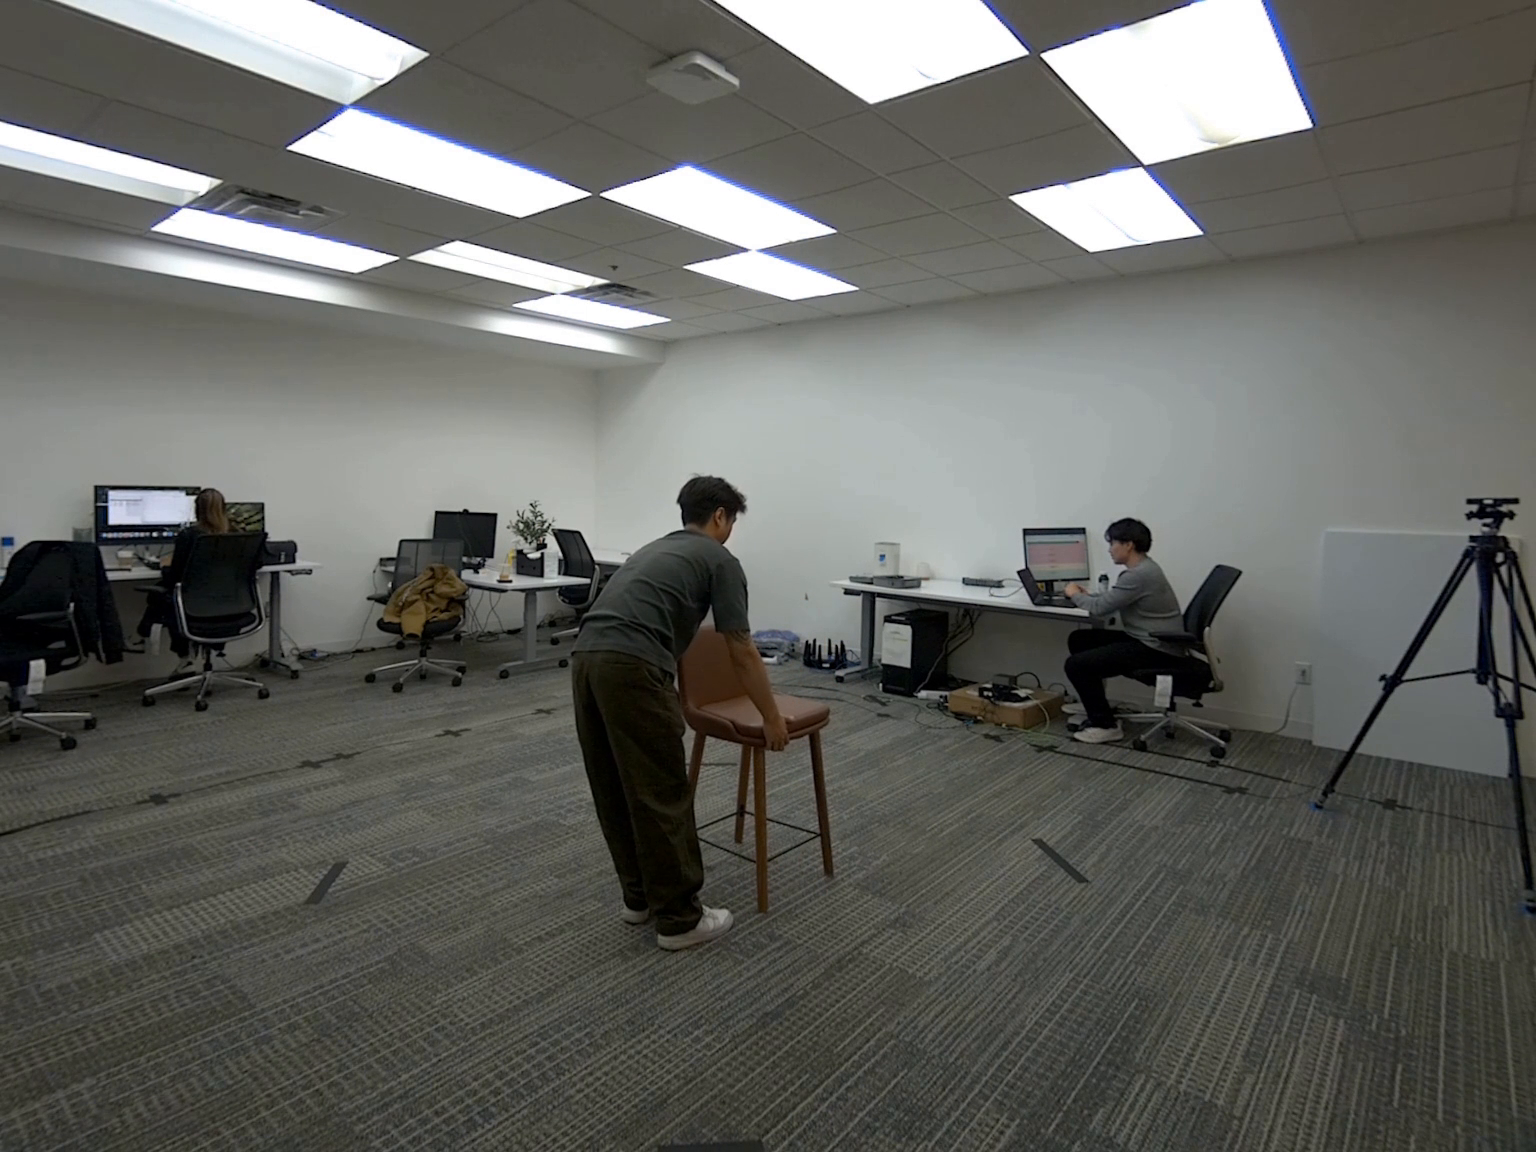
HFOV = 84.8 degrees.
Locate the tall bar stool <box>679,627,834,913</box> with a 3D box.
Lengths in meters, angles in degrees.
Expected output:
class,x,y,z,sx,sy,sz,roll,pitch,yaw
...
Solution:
class,x,y,z,sx,sy,sz,roll,pitch,yaw
tall bar stool,-0.064,0.635,3.065,0.483,0.888,0.443,1,2,40
